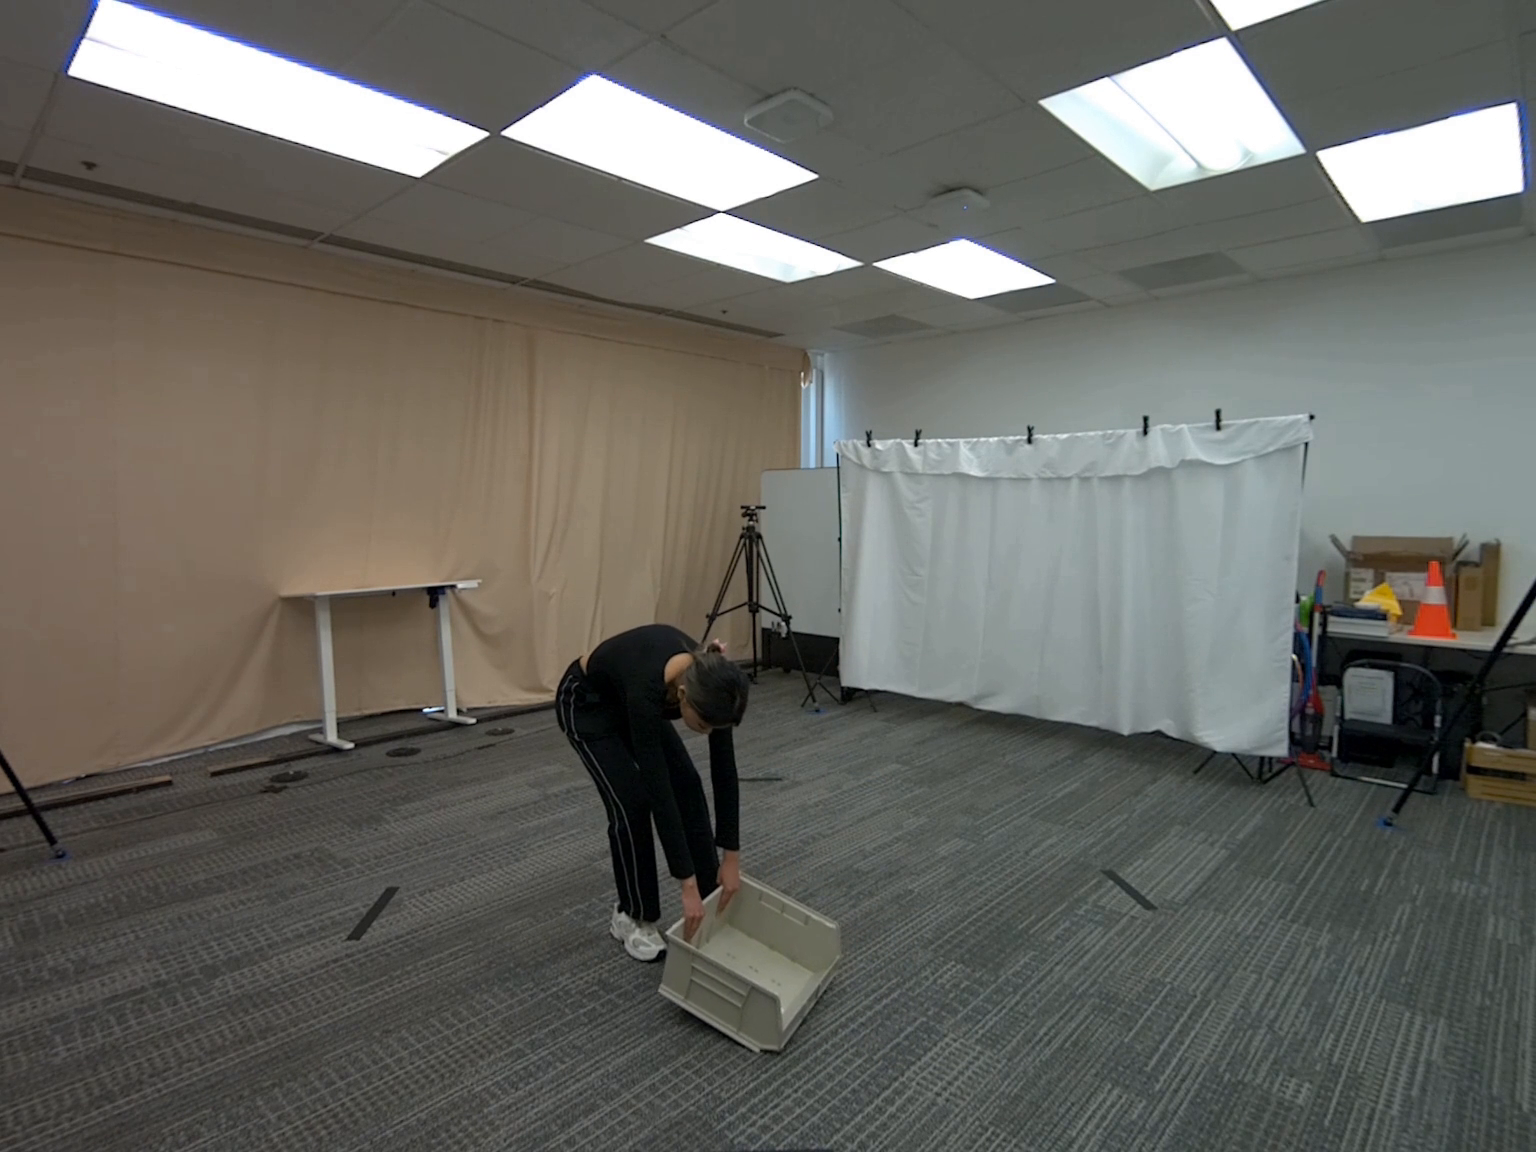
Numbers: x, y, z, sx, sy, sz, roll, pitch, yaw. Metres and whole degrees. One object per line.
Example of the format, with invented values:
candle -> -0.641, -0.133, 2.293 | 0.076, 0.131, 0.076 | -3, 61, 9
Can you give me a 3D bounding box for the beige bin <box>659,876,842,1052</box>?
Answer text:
beige bin -> -0.025, 1.079, 2.362 | 0.388, 0.188, 0.413 | 16, 13, 24
